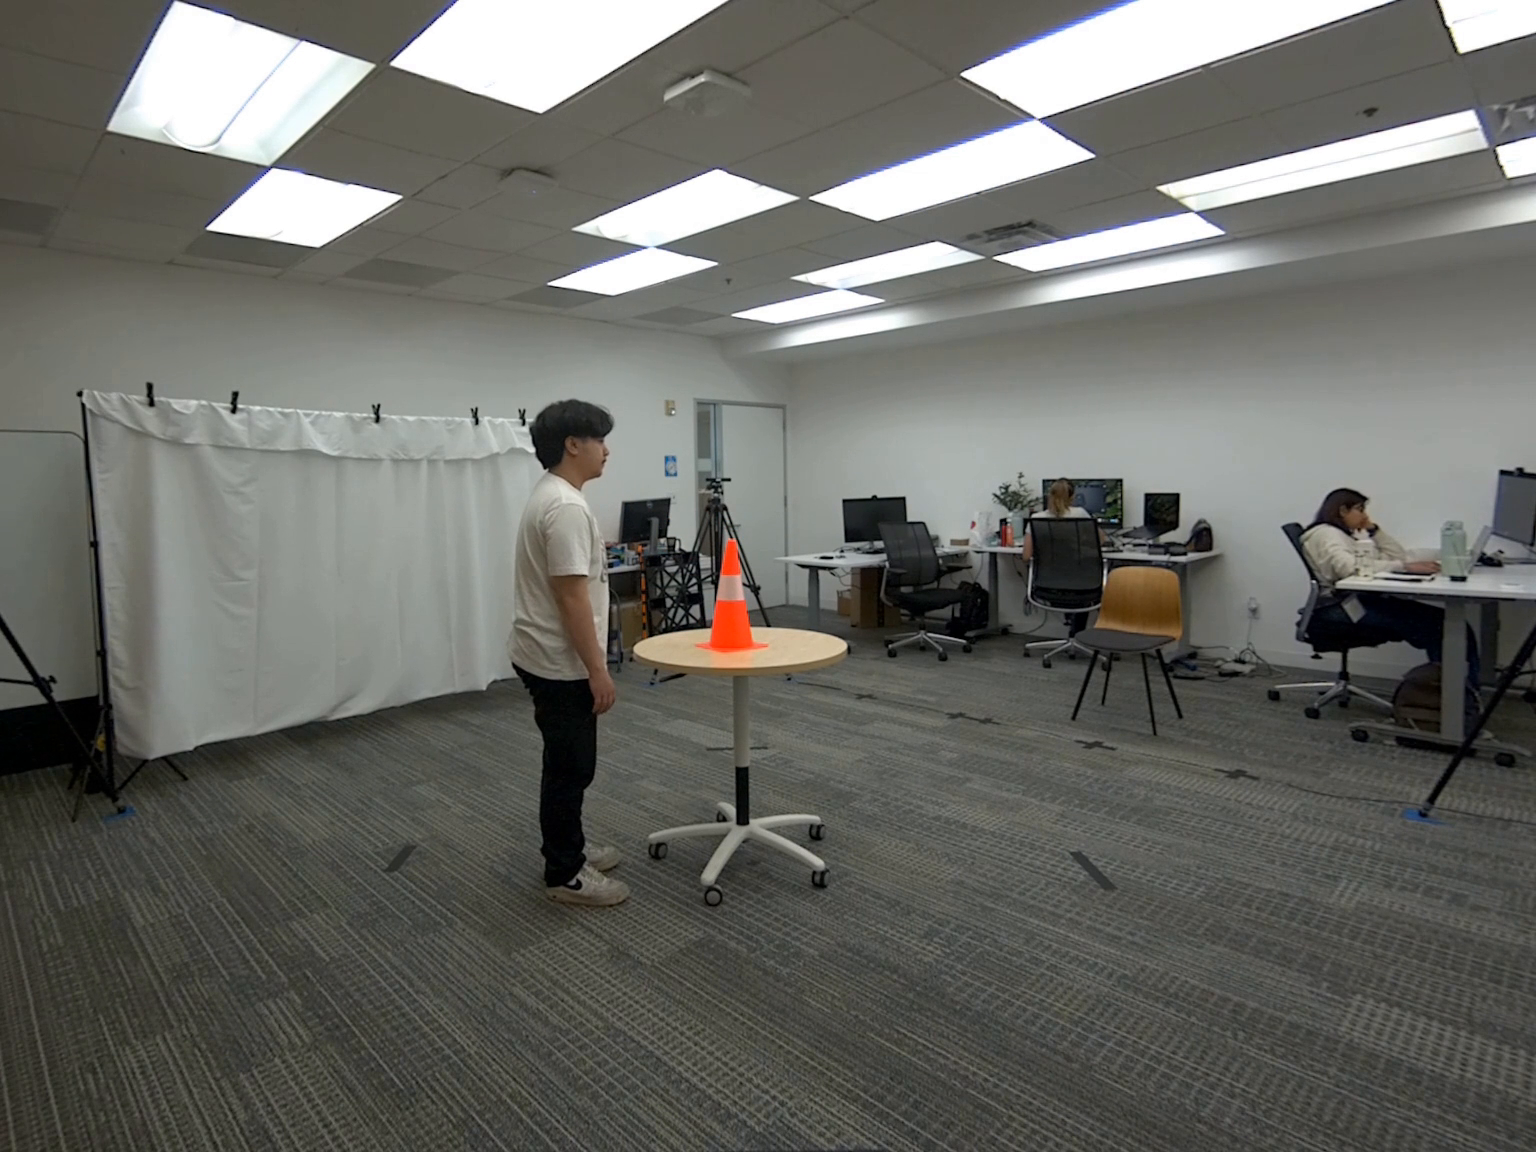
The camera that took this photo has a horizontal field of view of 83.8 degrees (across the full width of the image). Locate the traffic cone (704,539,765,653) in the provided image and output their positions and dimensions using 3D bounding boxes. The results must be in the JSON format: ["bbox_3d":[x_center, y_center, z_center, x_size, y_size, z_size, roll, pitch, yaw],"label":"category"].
[{"bbox_3d":[-0.143,0.064,3.055,0.209,0.382,0.200,0,4,36],"label":"traffic cone"}]
